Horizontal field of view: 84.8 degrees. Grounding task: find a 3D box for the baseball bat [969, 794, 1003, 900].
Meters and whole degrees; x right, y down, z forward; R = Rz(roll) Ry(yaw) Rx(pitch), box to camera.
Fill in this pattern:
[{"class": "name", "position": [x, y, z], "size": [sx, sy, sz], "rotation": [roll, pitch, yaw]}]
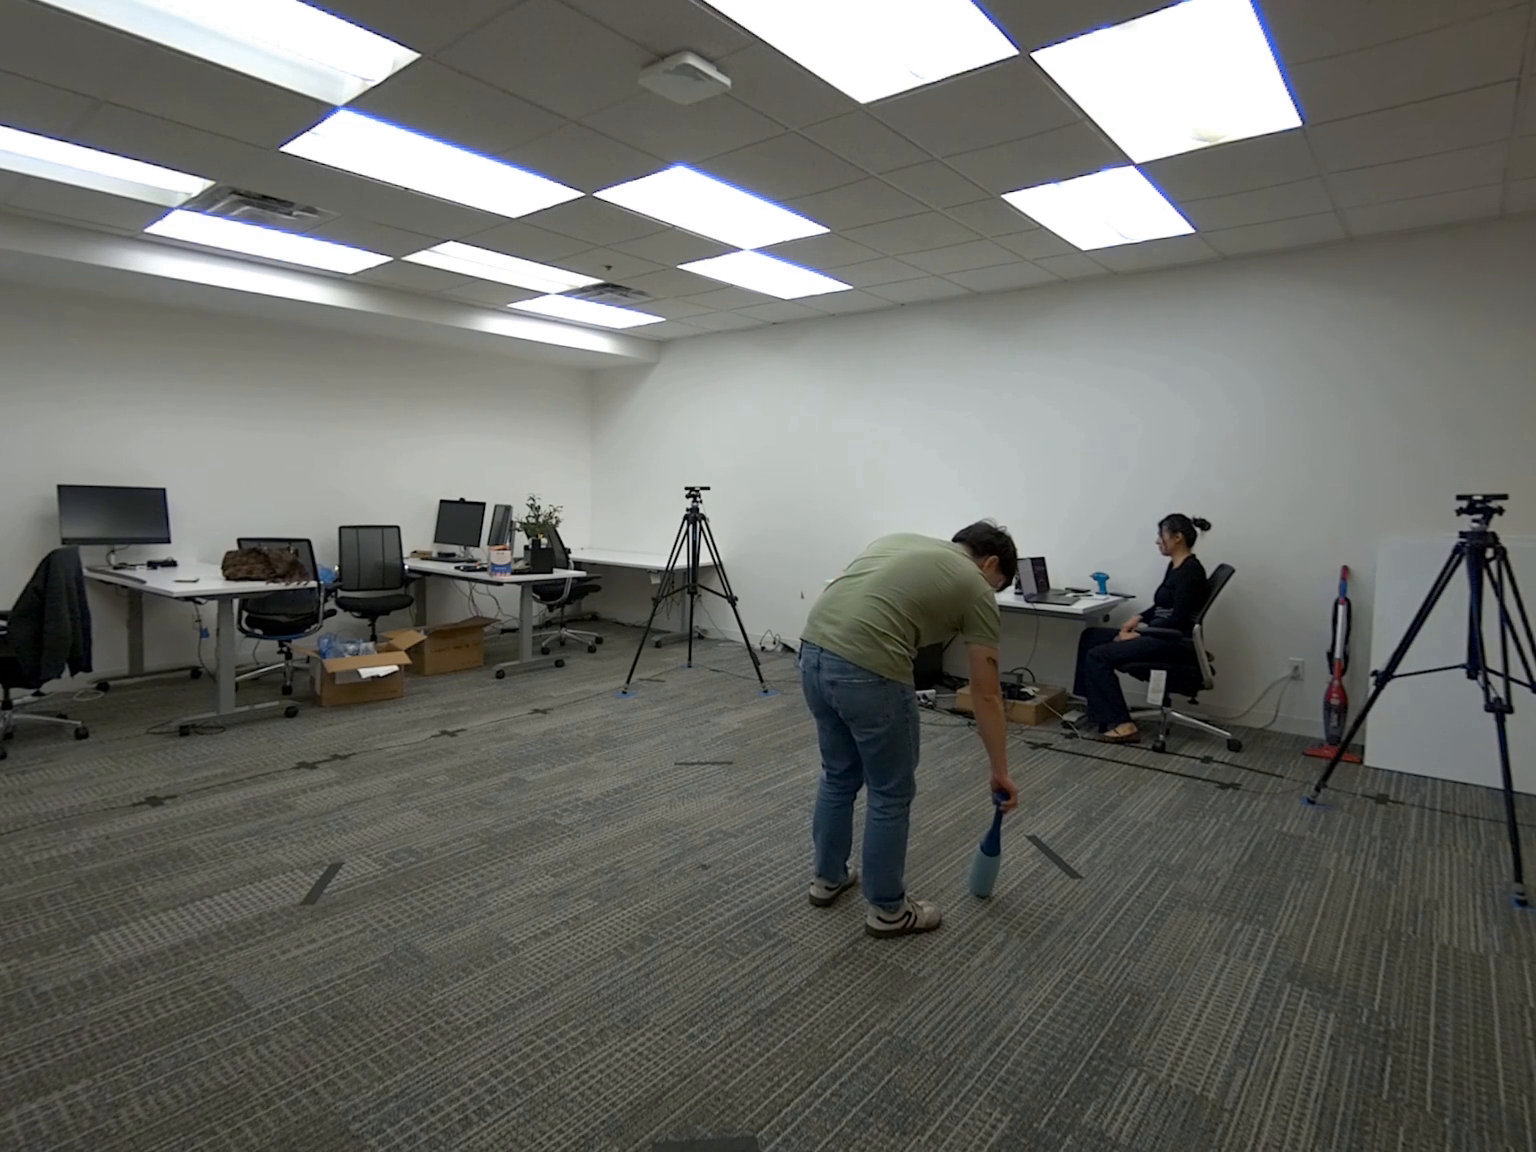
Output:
[{"class": "baseball bat", "position": [0.726, 0.885, 2.791], "size": [0.089, 0.527, 0.091], "rotation": [-3, 39, 0]}]
